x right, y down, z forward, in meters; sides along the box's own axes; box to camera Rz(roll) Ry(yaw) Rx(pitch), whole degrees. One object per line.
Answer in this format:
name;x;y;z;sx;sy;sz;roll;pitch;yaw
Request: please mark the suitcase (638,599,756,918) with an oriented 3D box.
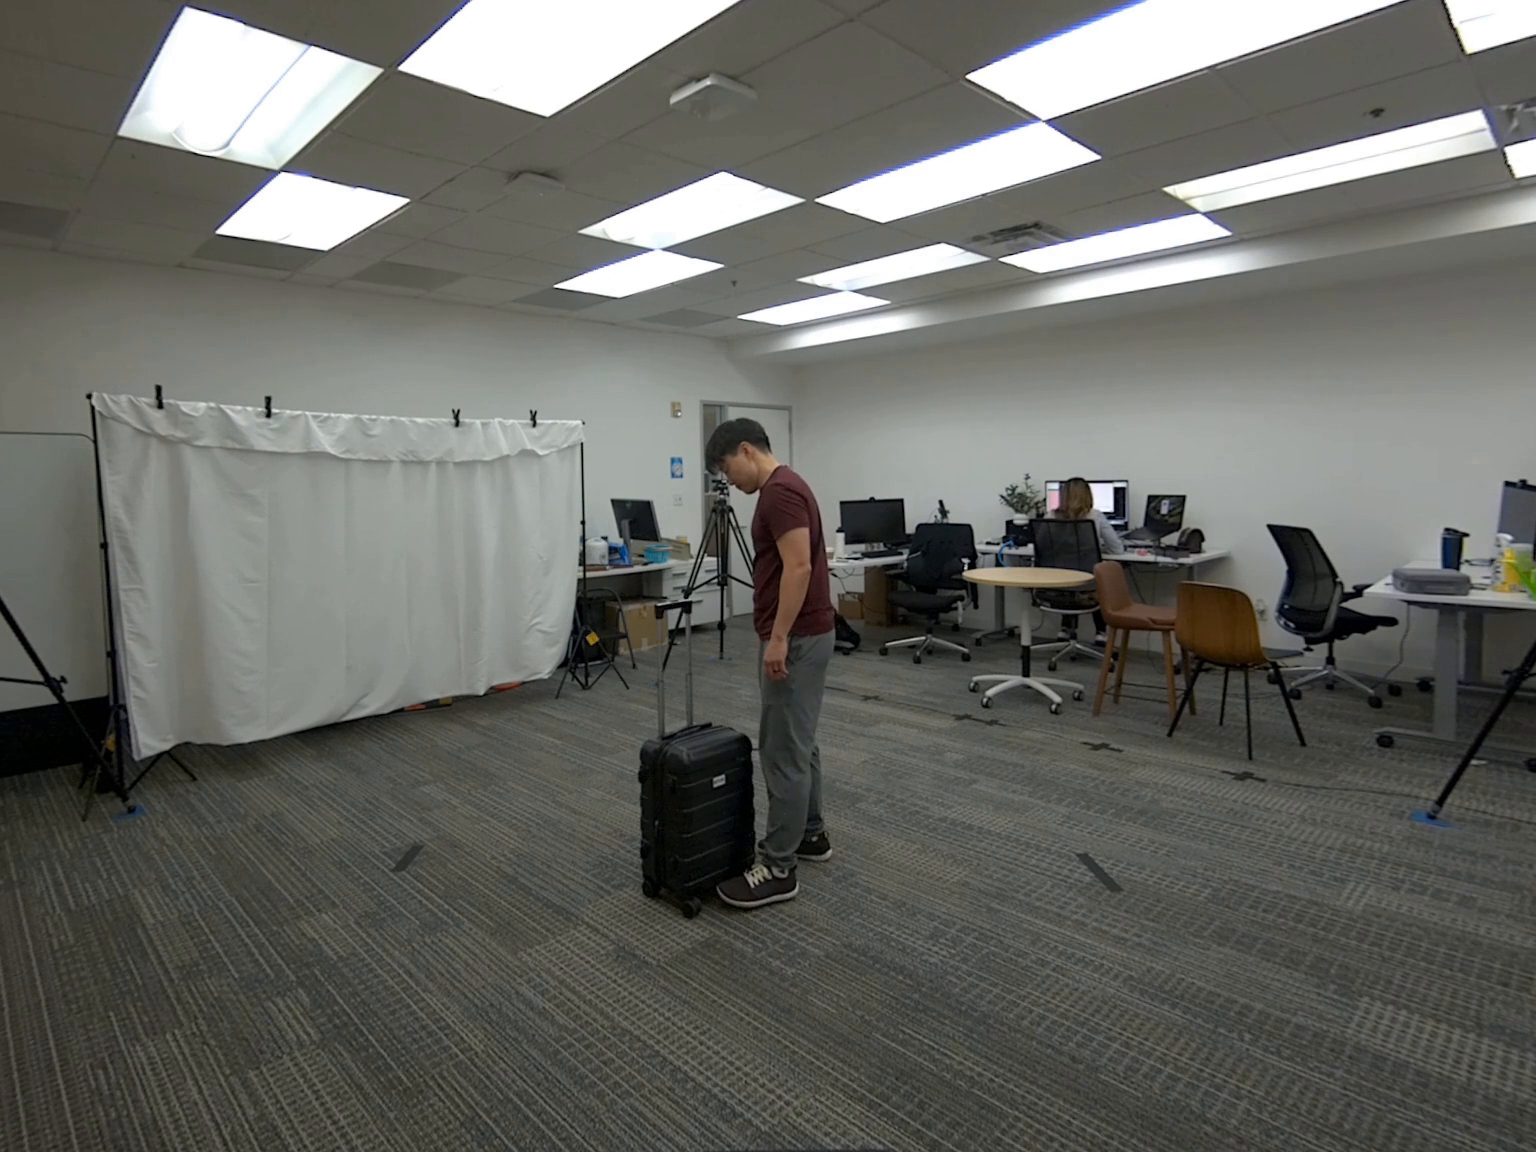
suitcase;-0.236;0.595;2.892;0.374;0.974;0.265;-6;7;-44
